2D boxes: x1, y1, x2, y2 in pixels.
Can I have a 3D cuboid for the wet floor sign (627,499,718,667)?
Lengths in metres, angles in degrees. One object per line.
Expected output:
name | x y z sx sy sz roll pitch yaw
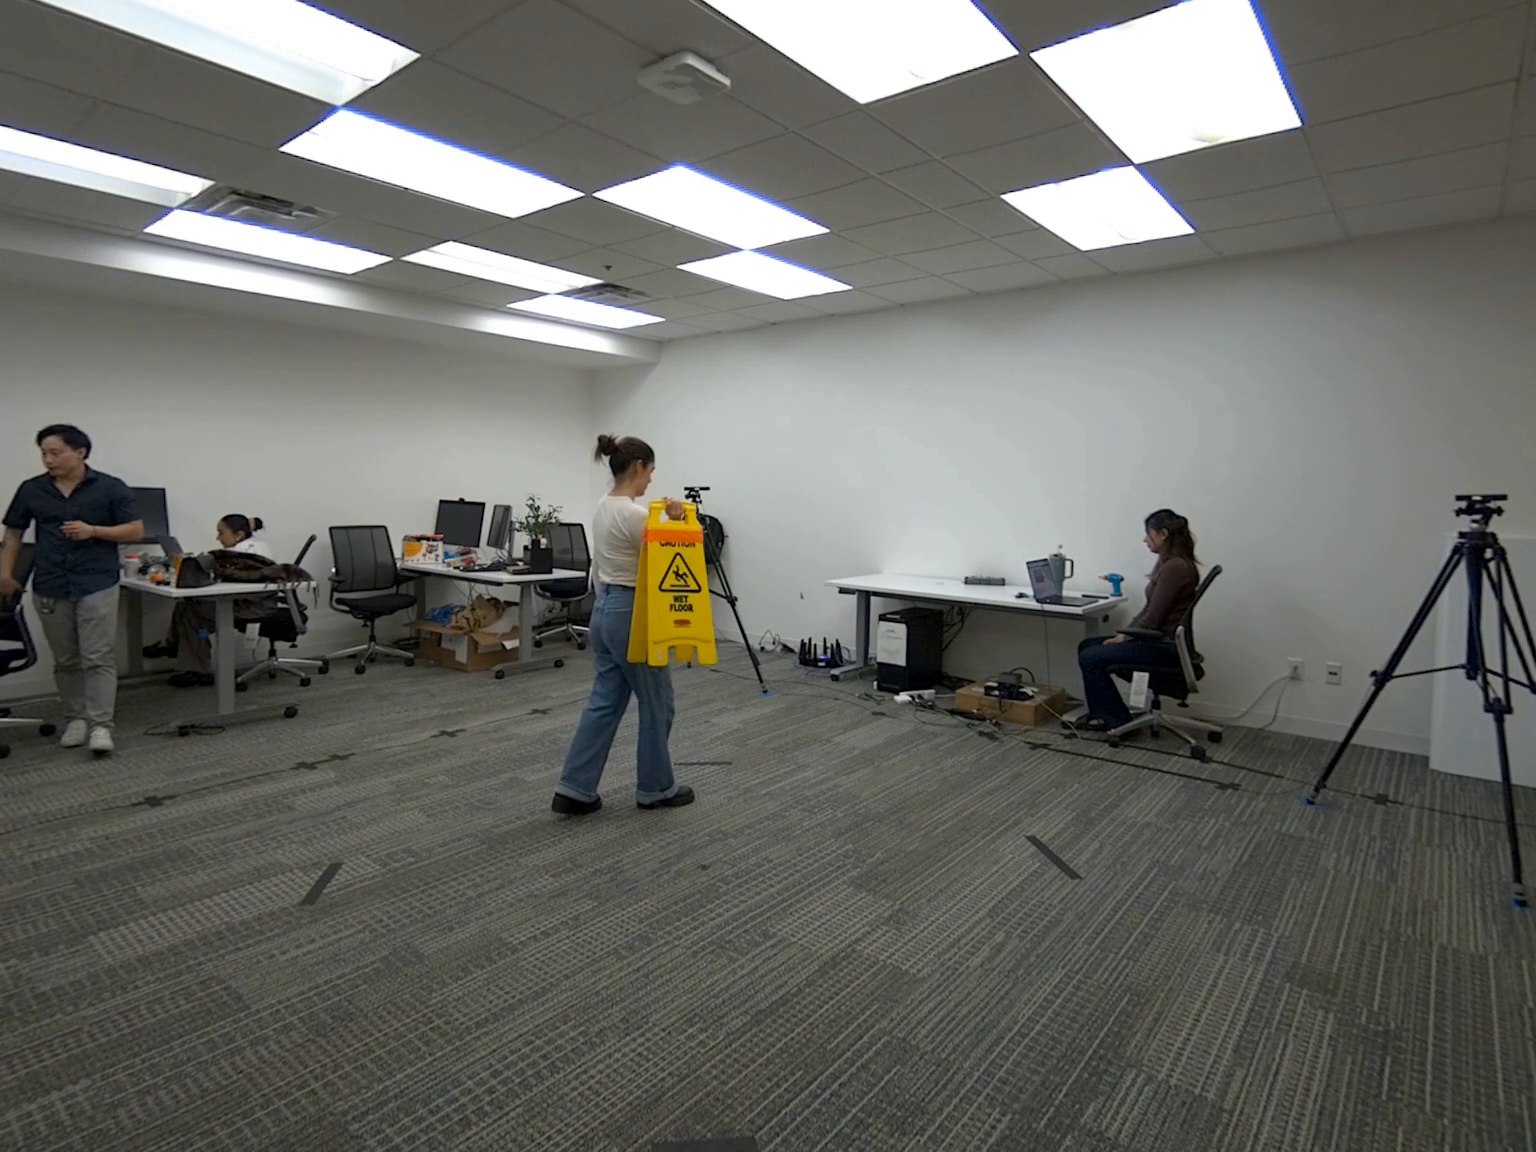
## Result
wet floor sign | -0.388 0.013 3.395 0.275 0.650 0.295 3 -6 -25
